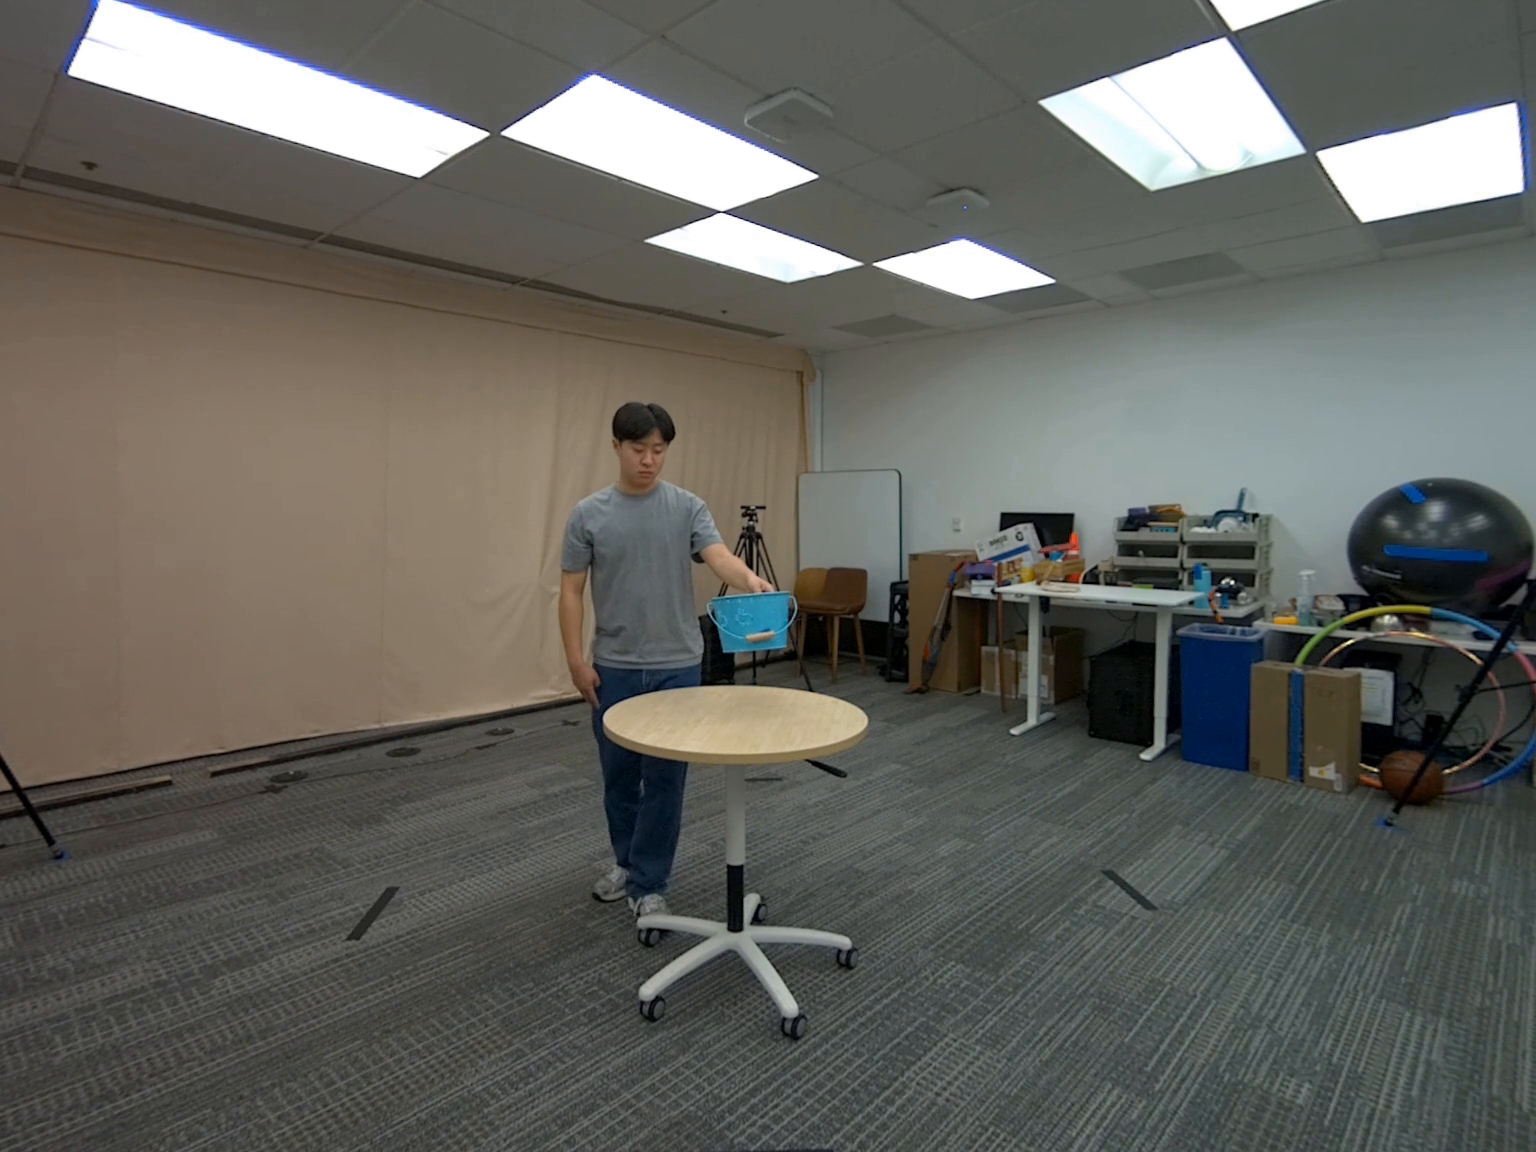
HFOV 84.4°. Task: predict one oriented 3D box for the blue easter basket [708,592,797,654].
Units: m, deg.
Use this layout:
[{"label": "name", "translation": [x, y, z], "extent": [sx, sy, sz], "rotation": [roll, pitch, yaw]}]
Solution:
[{"label": "blue easter basket", "translation": [-0.049, 0.135, 2.355], "extent": [0.243, 0.156, 0.243], "rotation": [-4, -4, -2]}]
